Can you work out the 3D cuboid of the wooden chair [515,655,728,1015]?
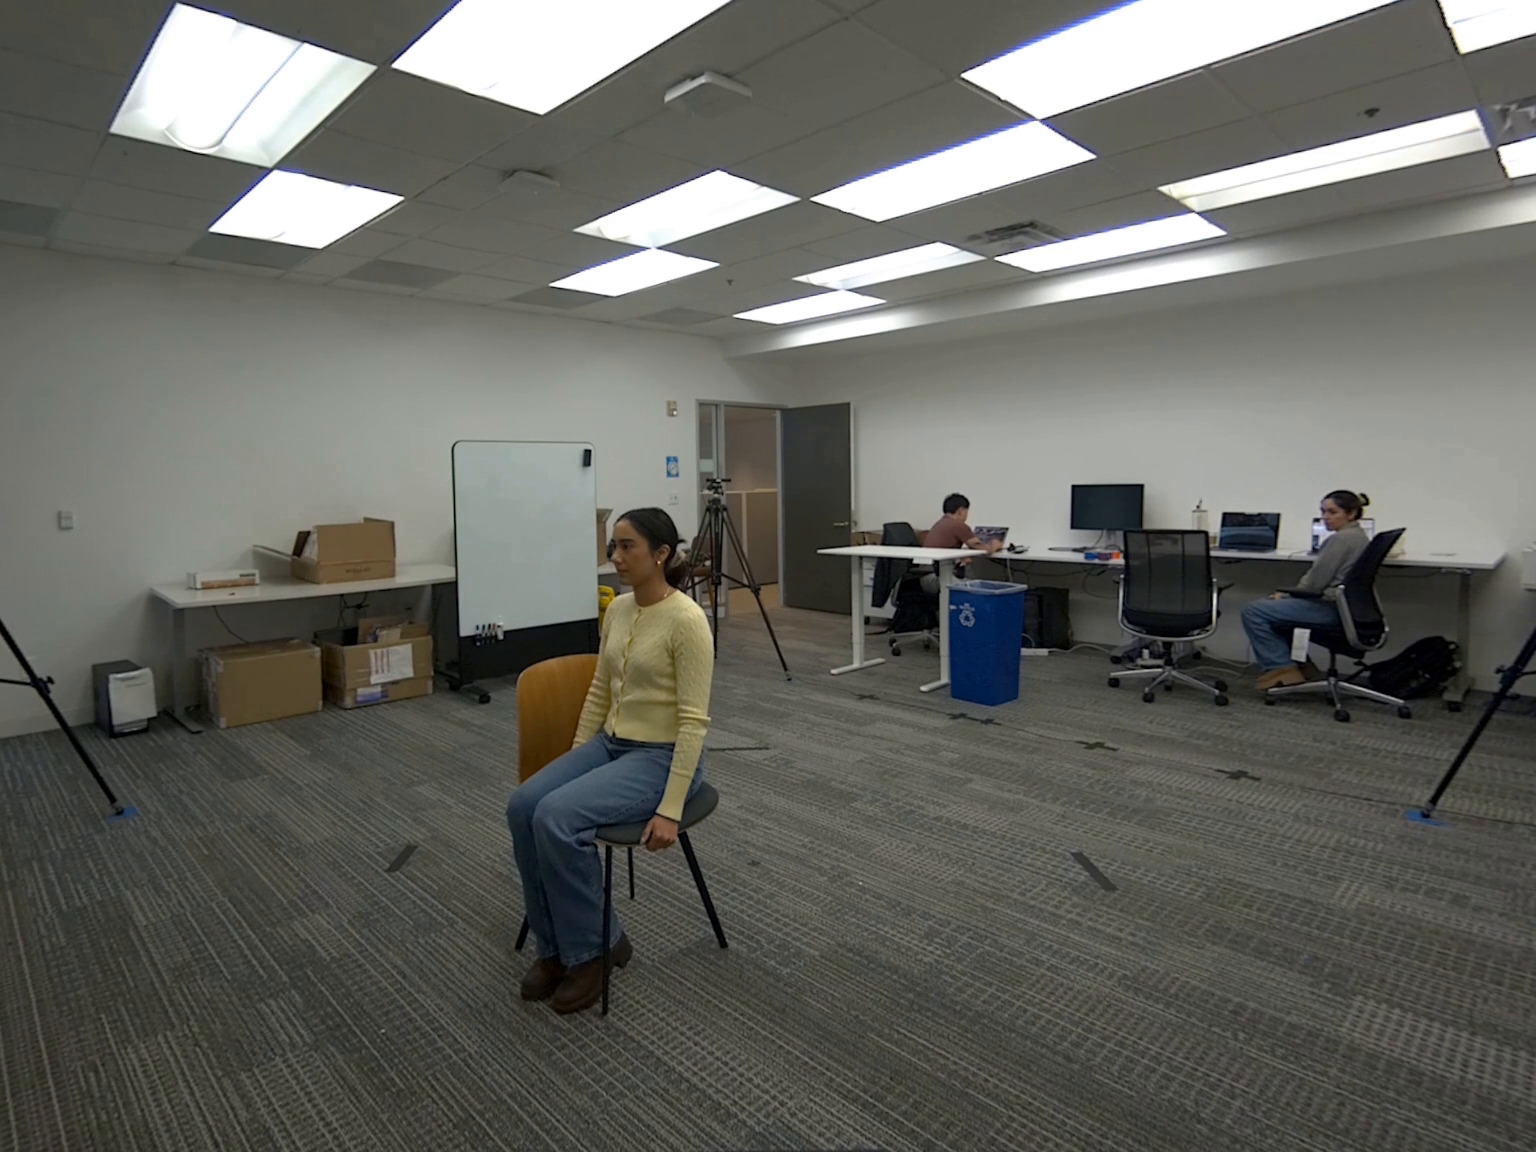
[{"bbox_3d":[-0.438,0.695,2.524,0.538,0.876,0.465,-2,2,45],"label":"wooden chair"}]
